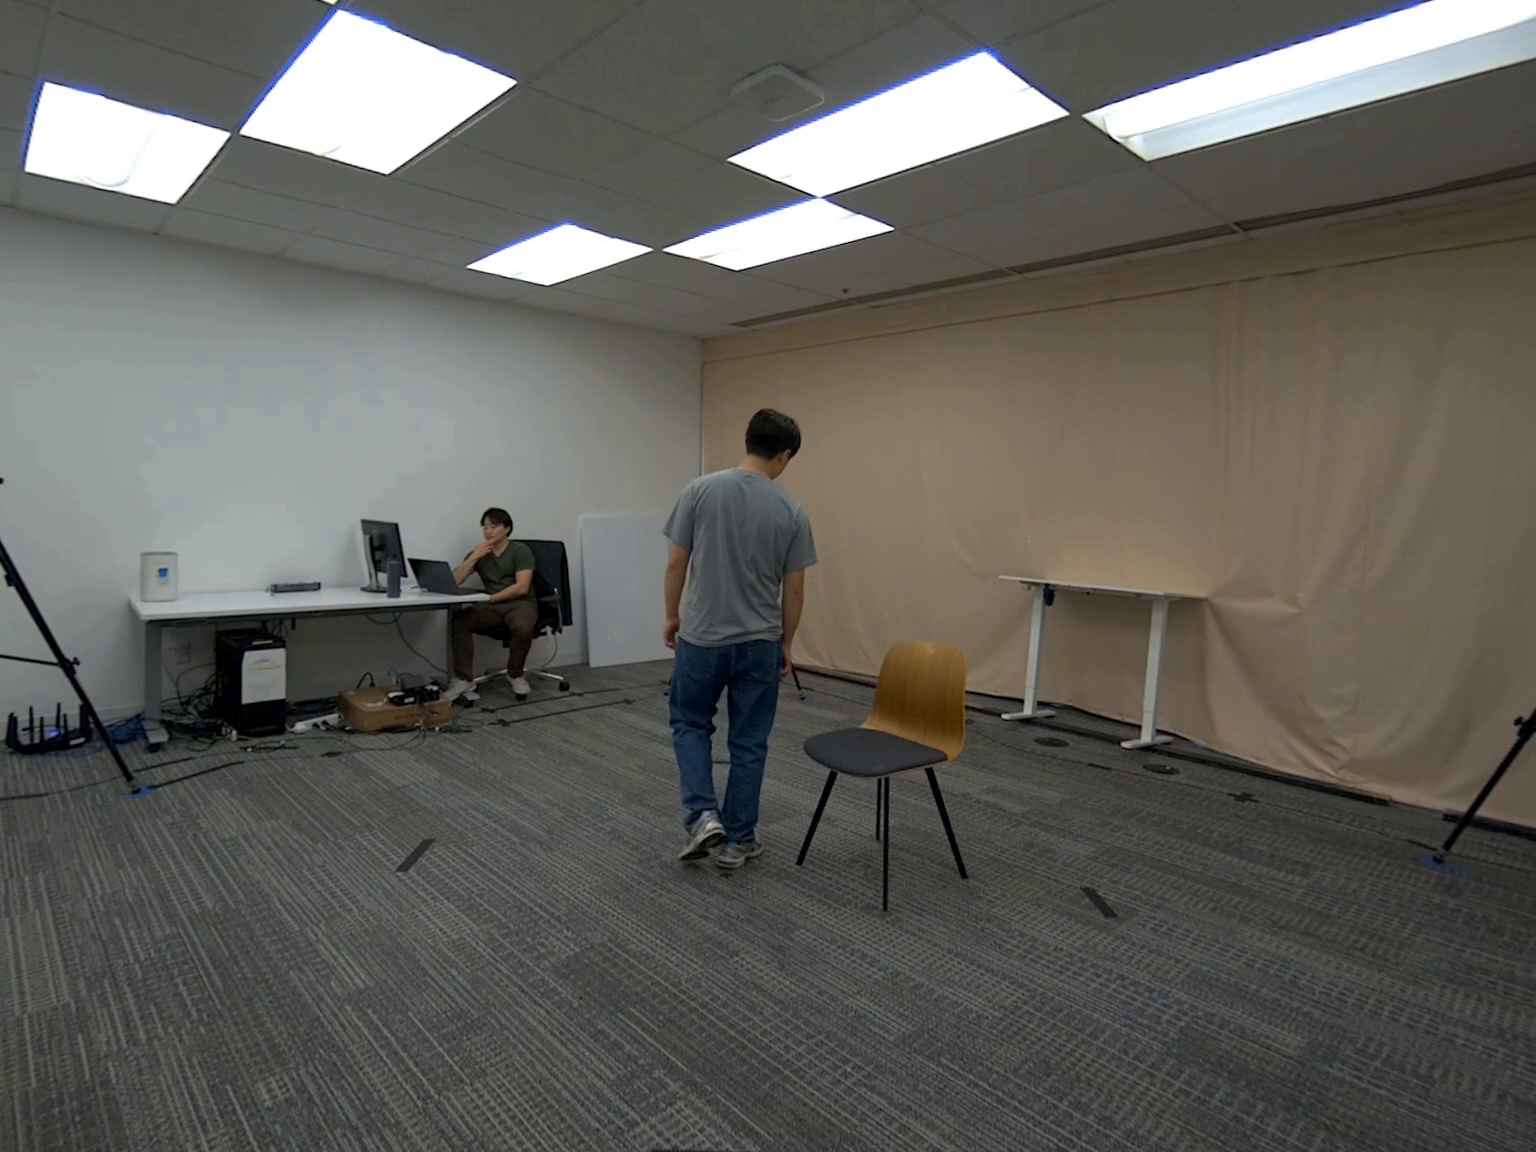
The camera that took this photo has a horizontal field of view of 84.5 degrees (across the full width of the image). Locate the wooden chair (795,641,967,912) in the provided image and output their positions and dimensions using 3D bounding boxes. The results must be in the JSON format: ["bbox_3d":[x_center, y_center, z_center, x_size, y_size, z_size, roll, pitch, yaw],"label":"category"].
[{"bbox_3d":[0.423,0.688,3.131,0.510,0.877,0.490,4,1,-39],"label":"wooden chair"}]
